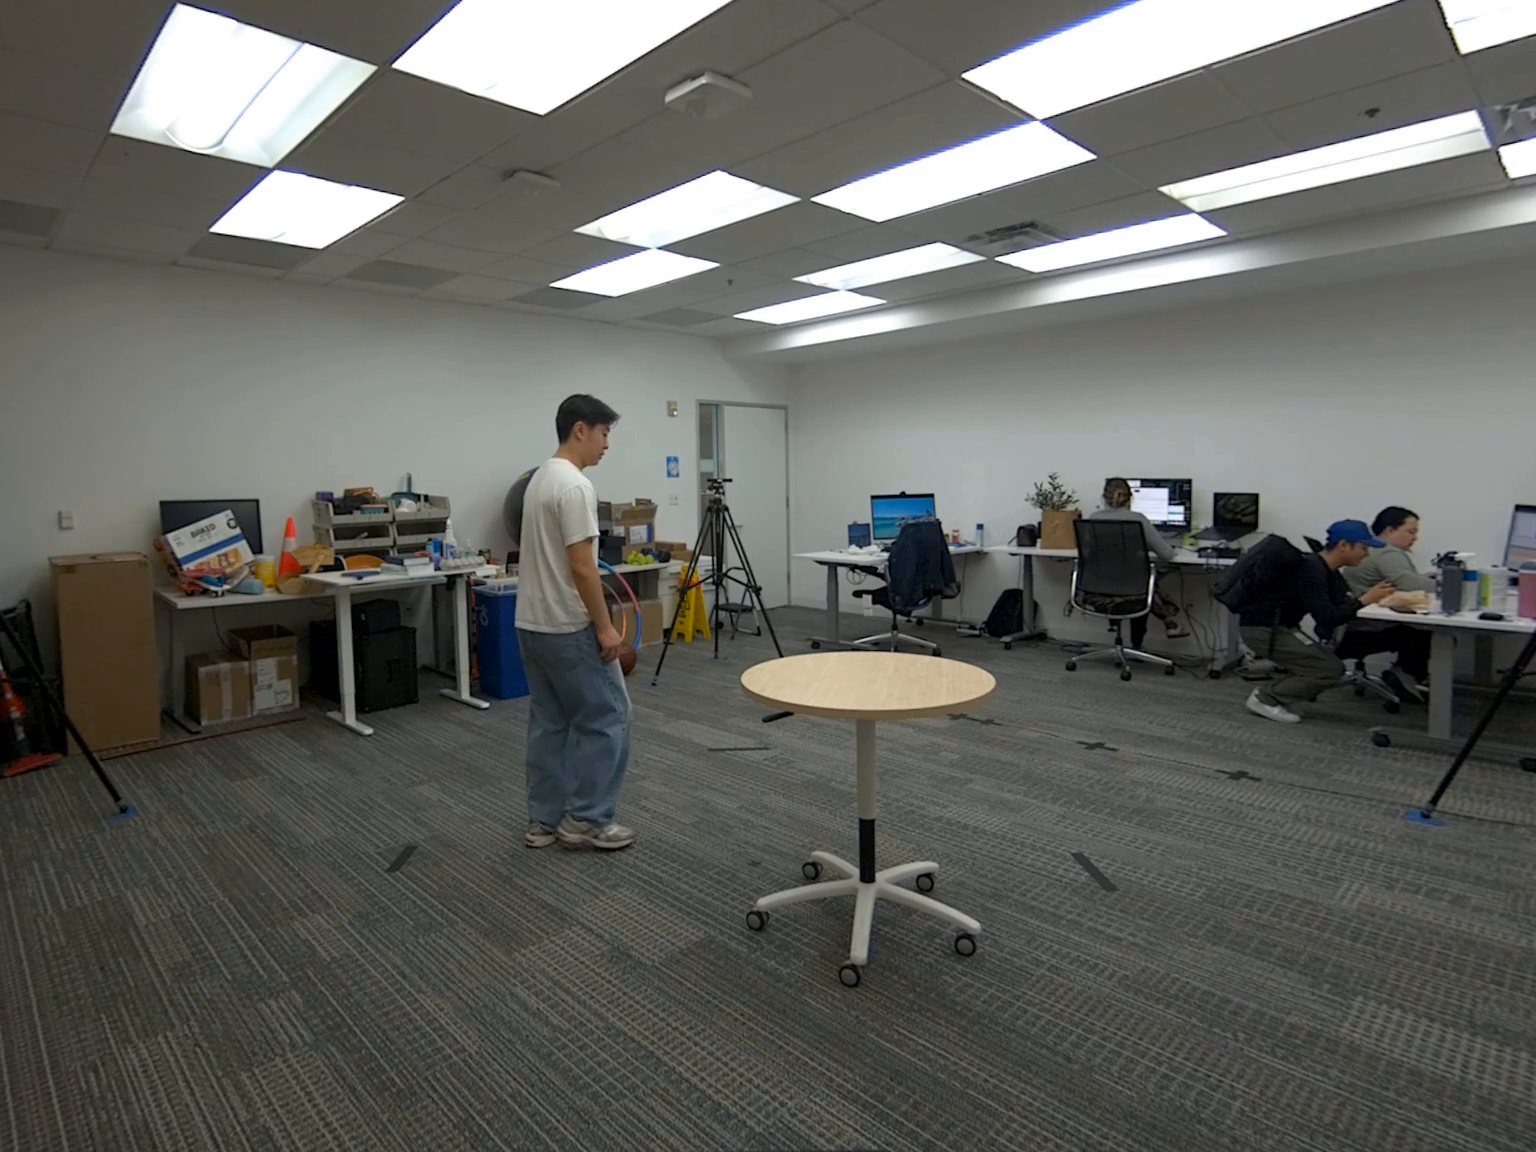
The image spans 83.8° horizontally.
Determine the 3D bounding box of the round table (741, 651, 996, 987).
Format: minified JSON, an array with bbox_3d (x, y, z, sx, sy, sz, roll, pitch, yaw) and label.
[{"bbox_3d":[0.309,0.702,2.657,0.763,0.791,0.768,-1,5,-2],"label":"round table"}]
